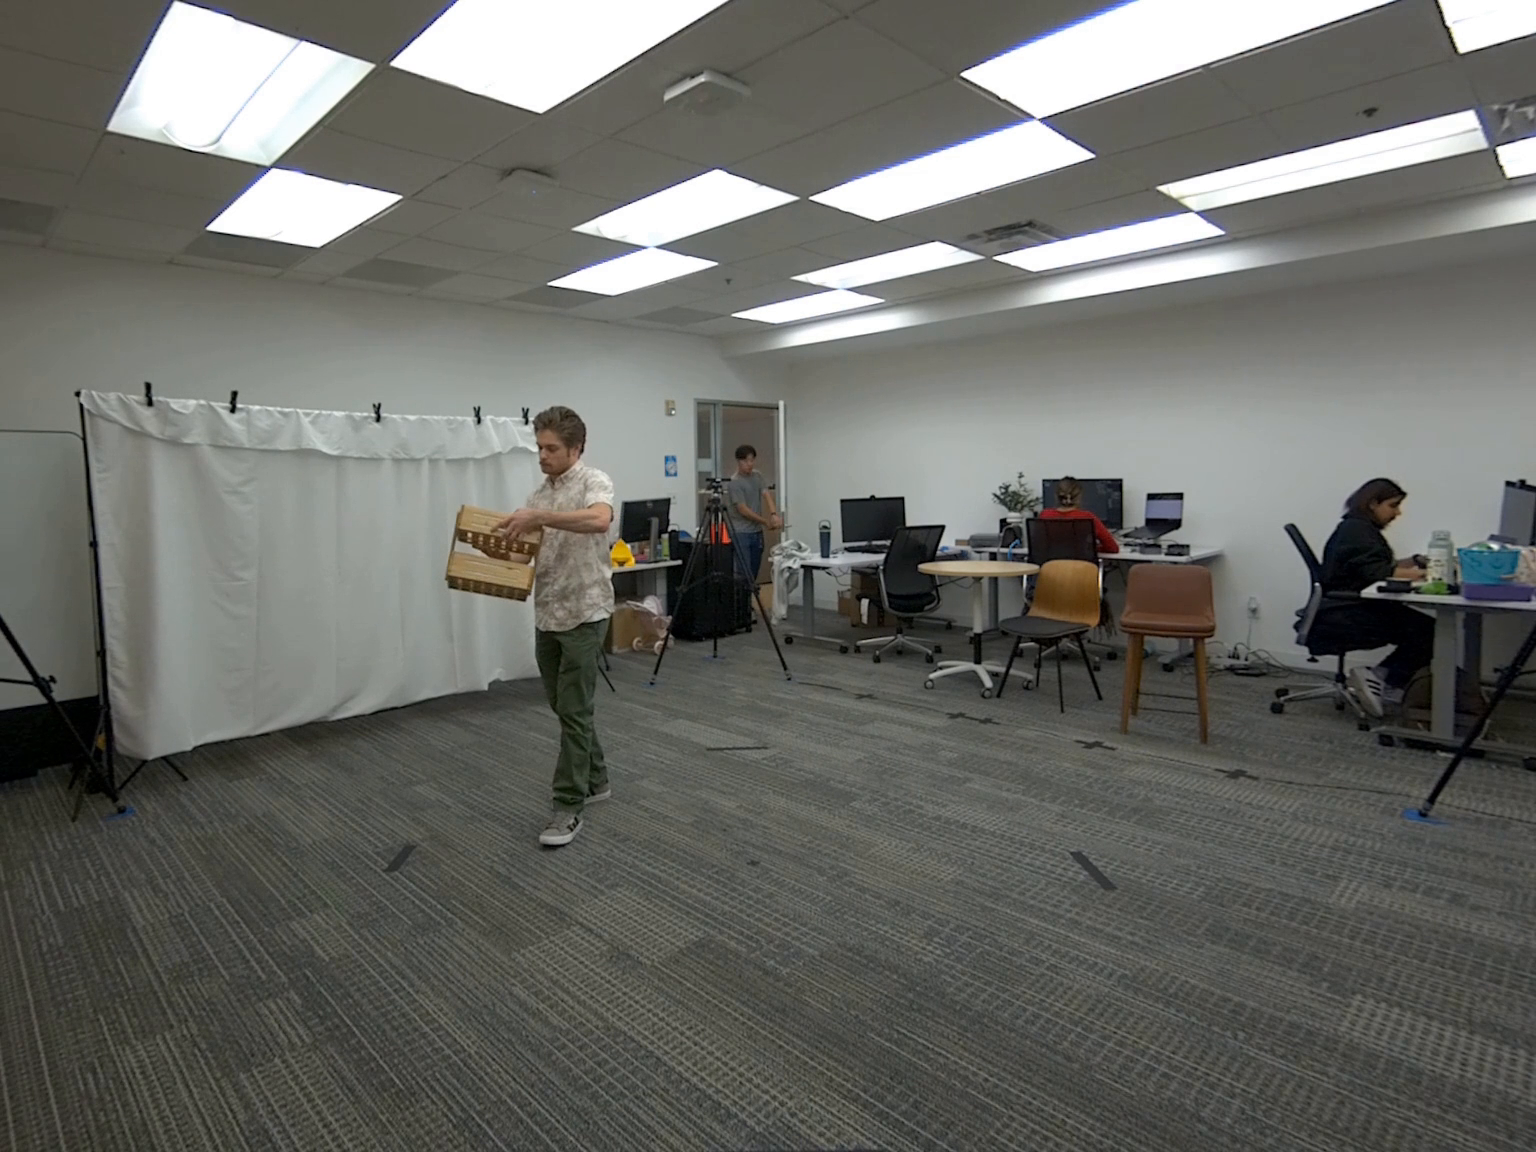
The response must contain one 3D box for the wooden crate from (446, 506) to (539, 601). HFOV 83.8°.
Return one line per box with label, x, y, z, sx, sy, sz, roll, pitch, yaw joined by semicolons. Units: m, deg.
wooden crate;-1.067;-0.078;3.287;0.319;0.277;0.303;12;-16;-15
